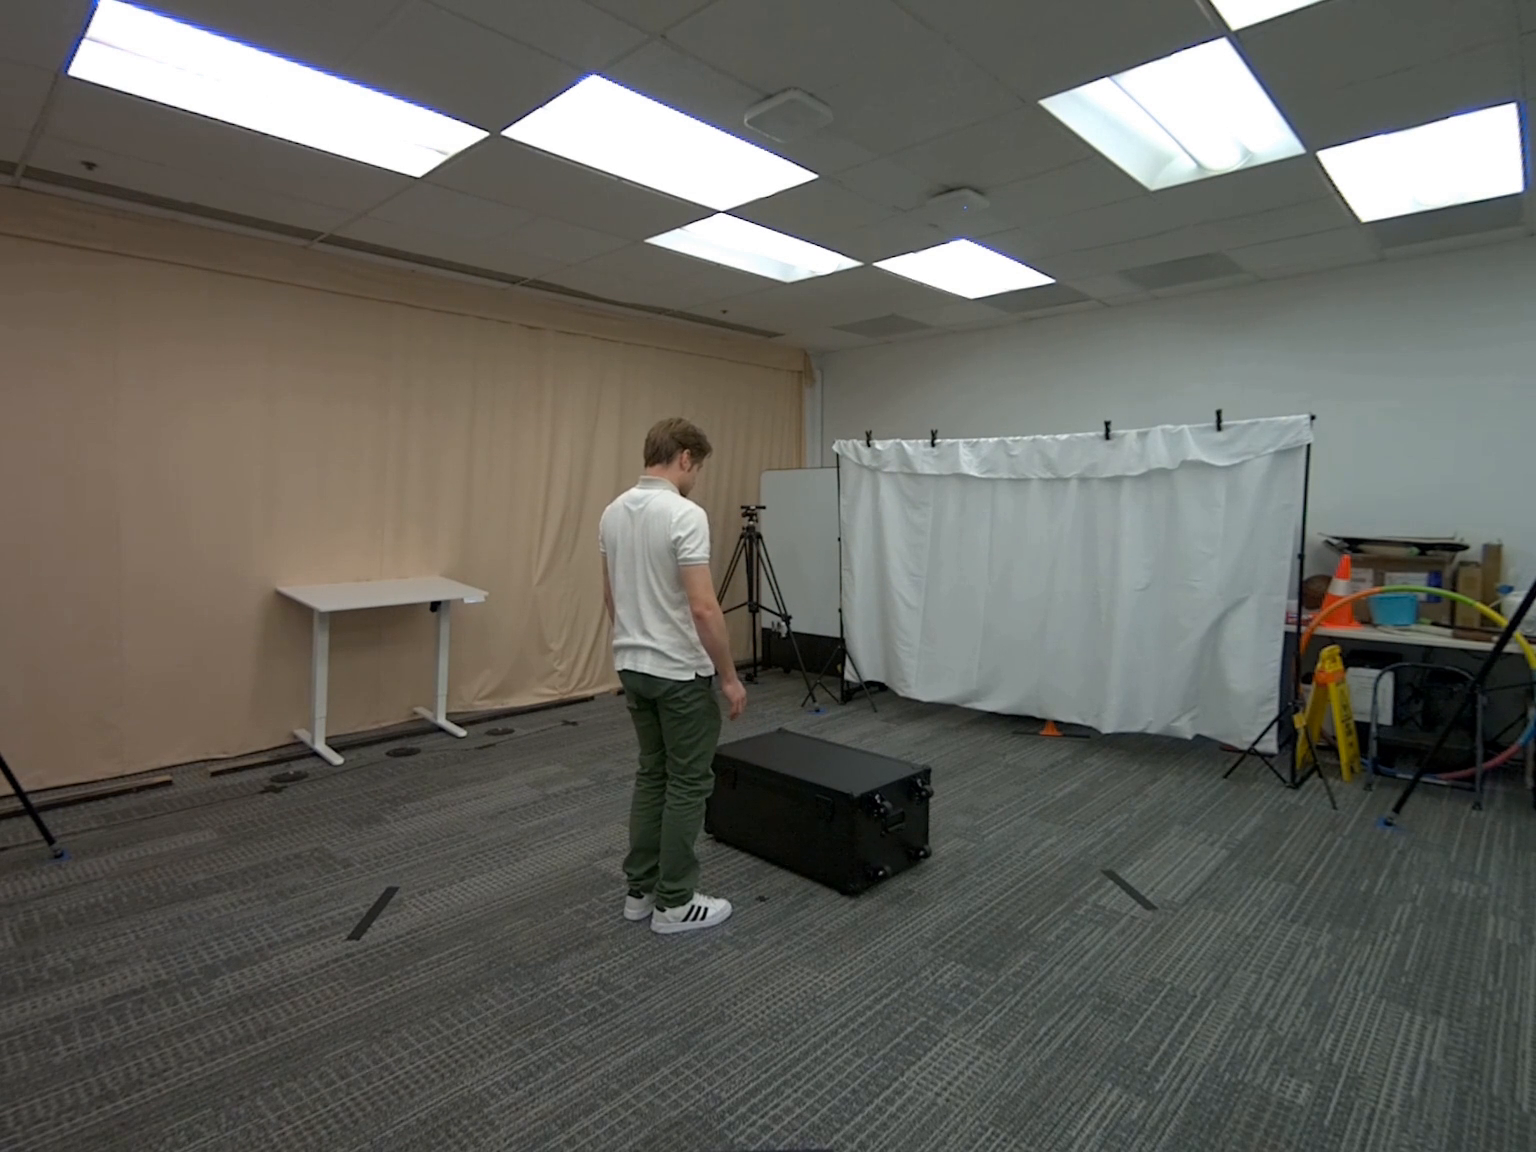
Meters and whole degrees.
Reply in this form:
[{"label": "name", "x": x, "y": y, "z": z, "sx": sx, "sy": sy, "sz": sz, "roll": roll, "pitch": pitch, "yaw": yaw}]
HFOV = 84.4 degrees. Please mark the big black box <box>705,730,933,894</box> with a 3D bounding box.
[{"label": "big black box", "x": 0.209, "y": 0.919, "z": 3.376, "sx": 0.890, "sy": 0.395, "sz": 0.505, "roll": 3, "pitch": 5, "yaw": 44}]
